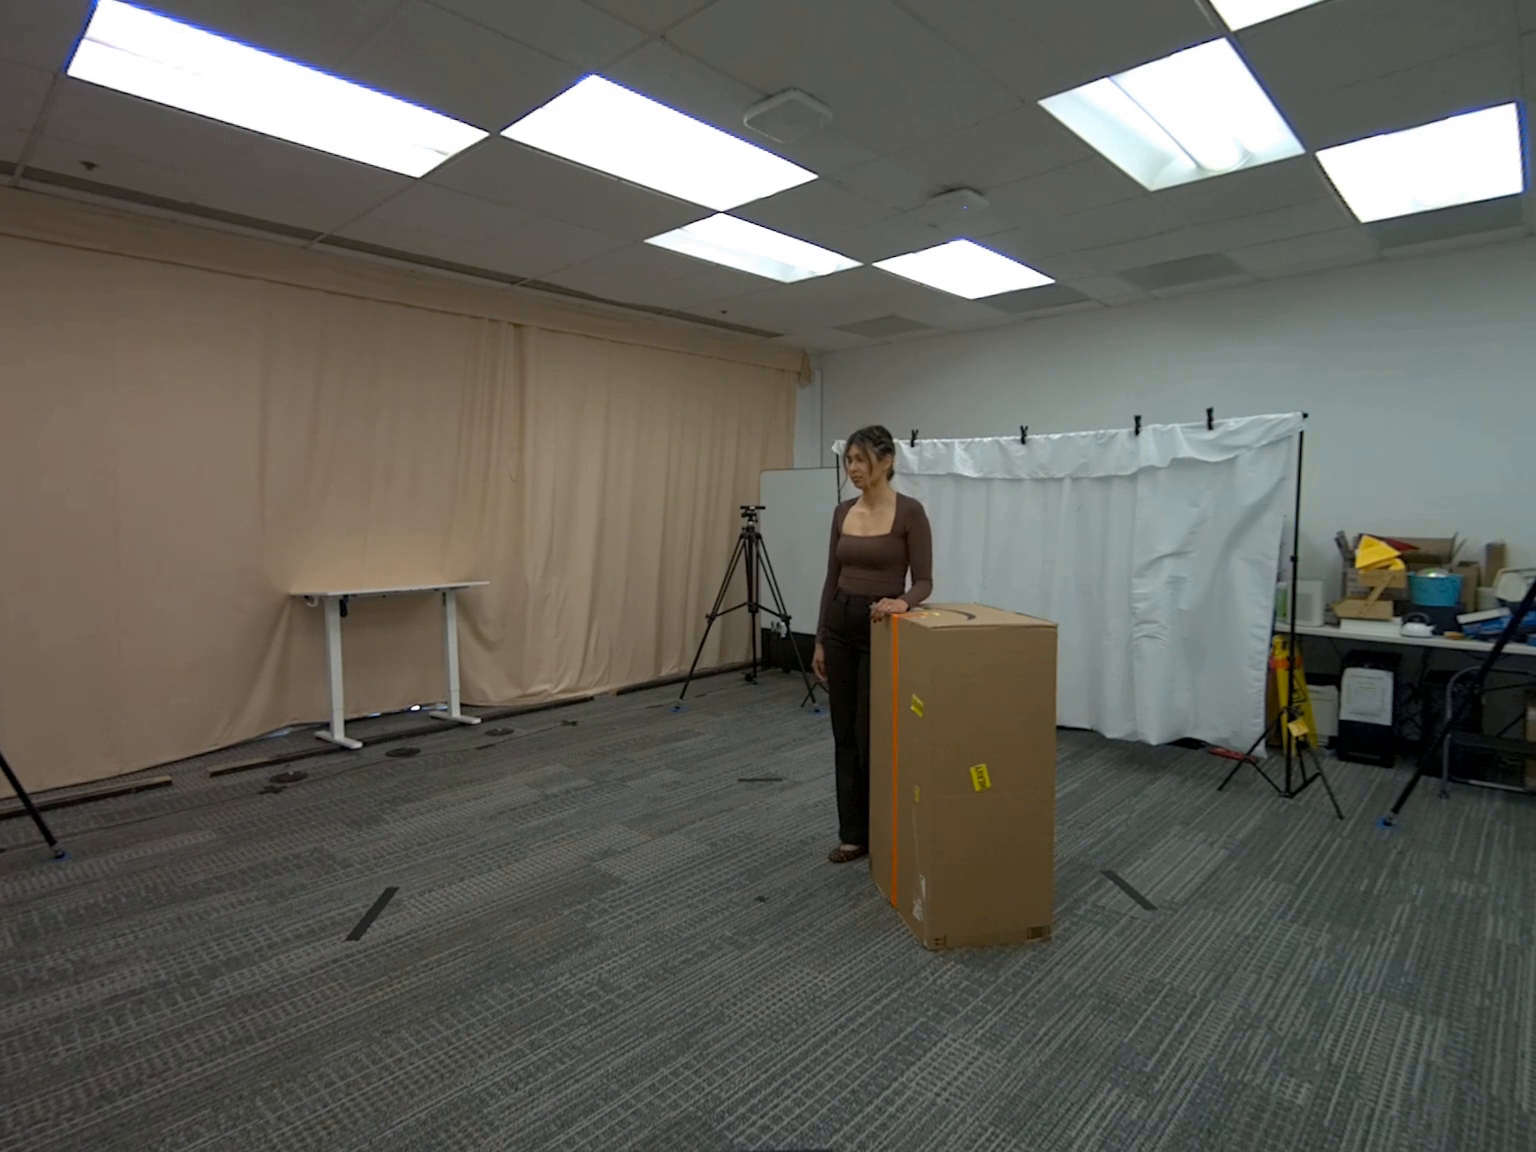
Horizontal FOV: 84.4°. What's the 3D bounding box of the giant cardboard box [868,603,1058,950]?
[{"bbox_3d":[0.652,0.641,2.911,0.442,1.025,0.591,0,3,-11],"label":"giant cardboard box"}]
